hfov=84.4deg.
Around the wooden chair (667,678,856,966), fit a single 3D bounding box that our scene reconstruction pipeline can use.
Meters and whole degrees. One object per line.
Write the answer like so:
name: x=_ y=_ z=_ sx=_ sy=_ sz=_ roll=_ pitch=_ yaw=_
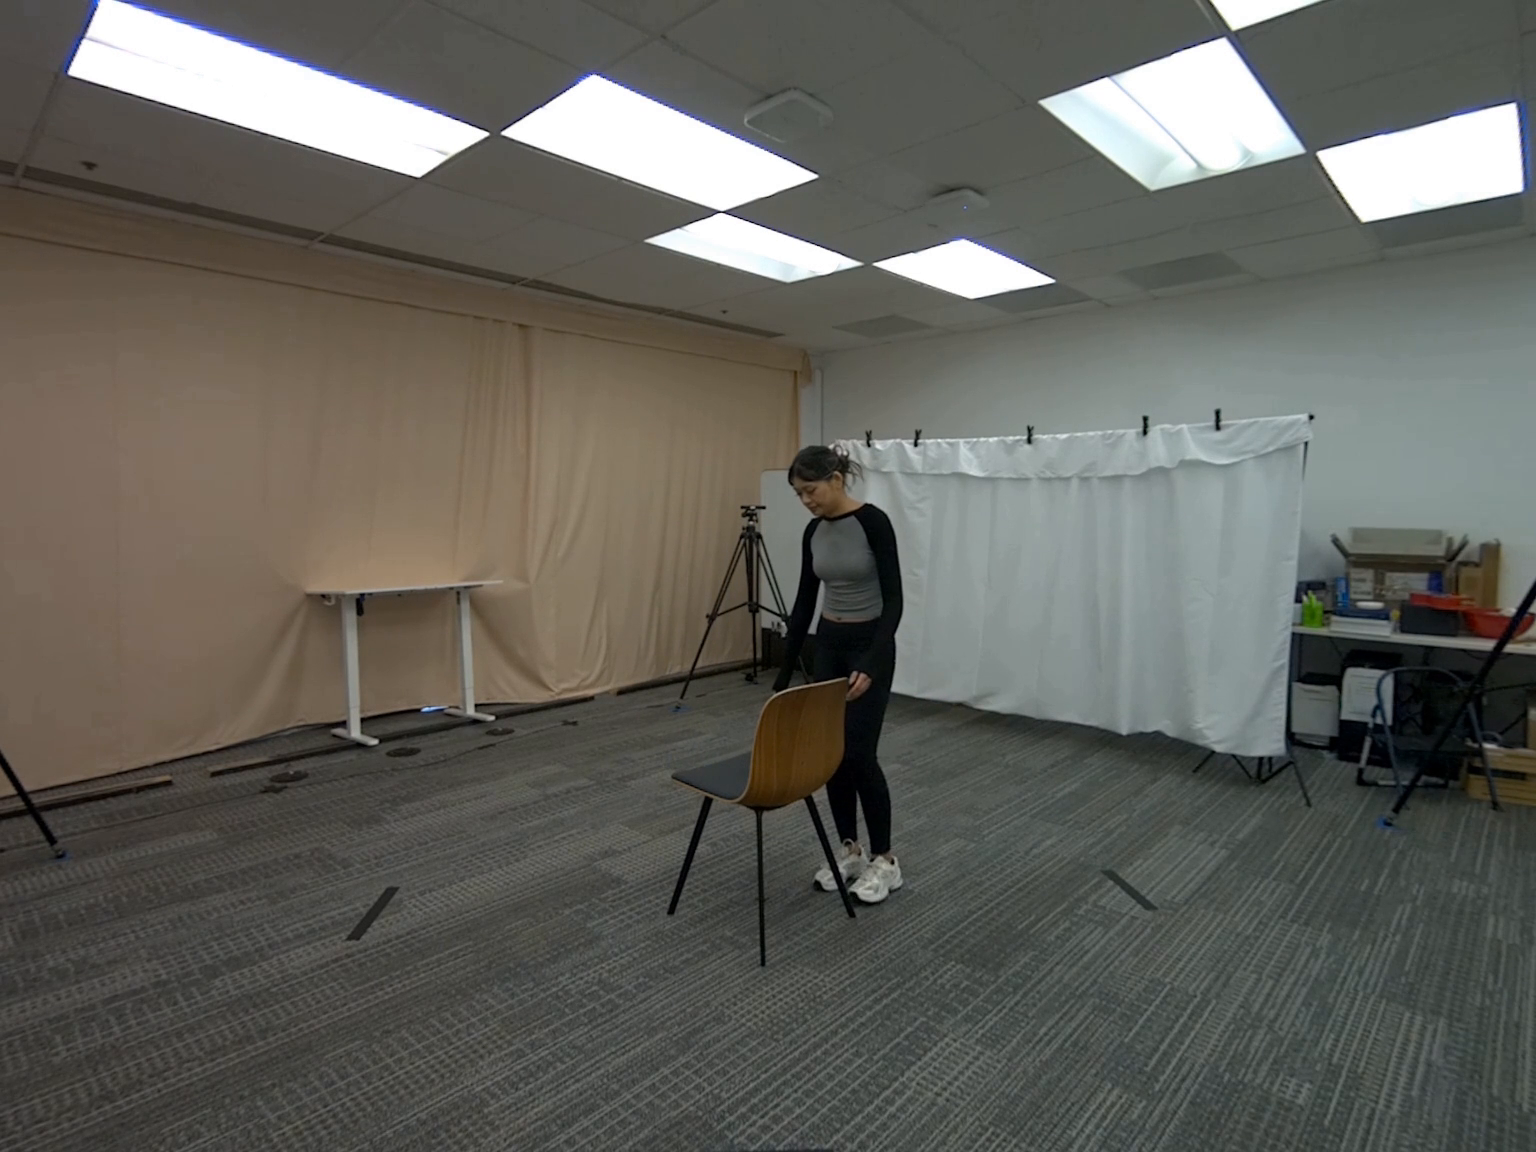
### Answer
wooden chair: x=-0.032 y=0.726 z=2.833 sx=0.541 sy=0.874 sz=0.463 roll=9 pitch=9 yaw=44
